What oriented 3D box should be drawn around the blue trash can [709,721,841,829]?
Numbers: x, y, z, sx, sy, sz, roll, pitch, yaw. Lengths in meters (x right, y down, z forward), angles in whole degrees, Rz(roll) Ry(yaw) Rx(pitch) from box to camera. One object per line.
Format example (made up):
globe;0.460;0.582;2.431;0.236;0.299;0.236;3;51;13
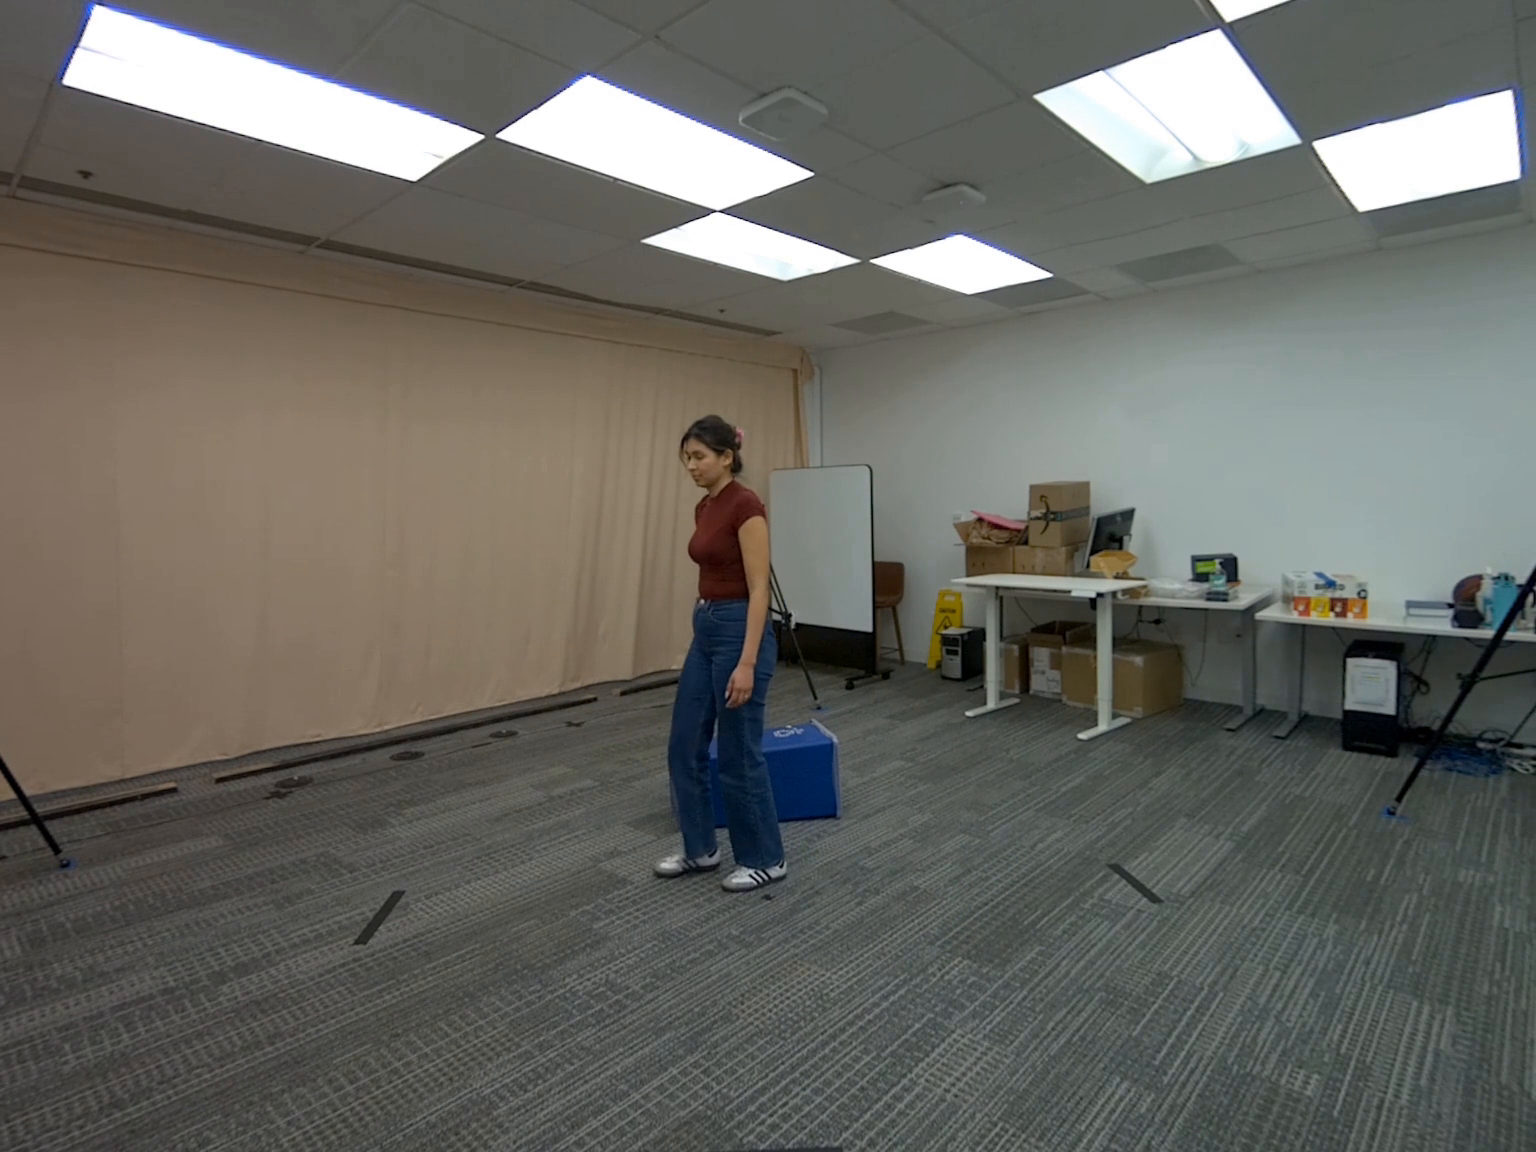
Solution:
blue trash can;-0.068;0.903;3.794;0.704;0.377;0.380;-5;5;-13
